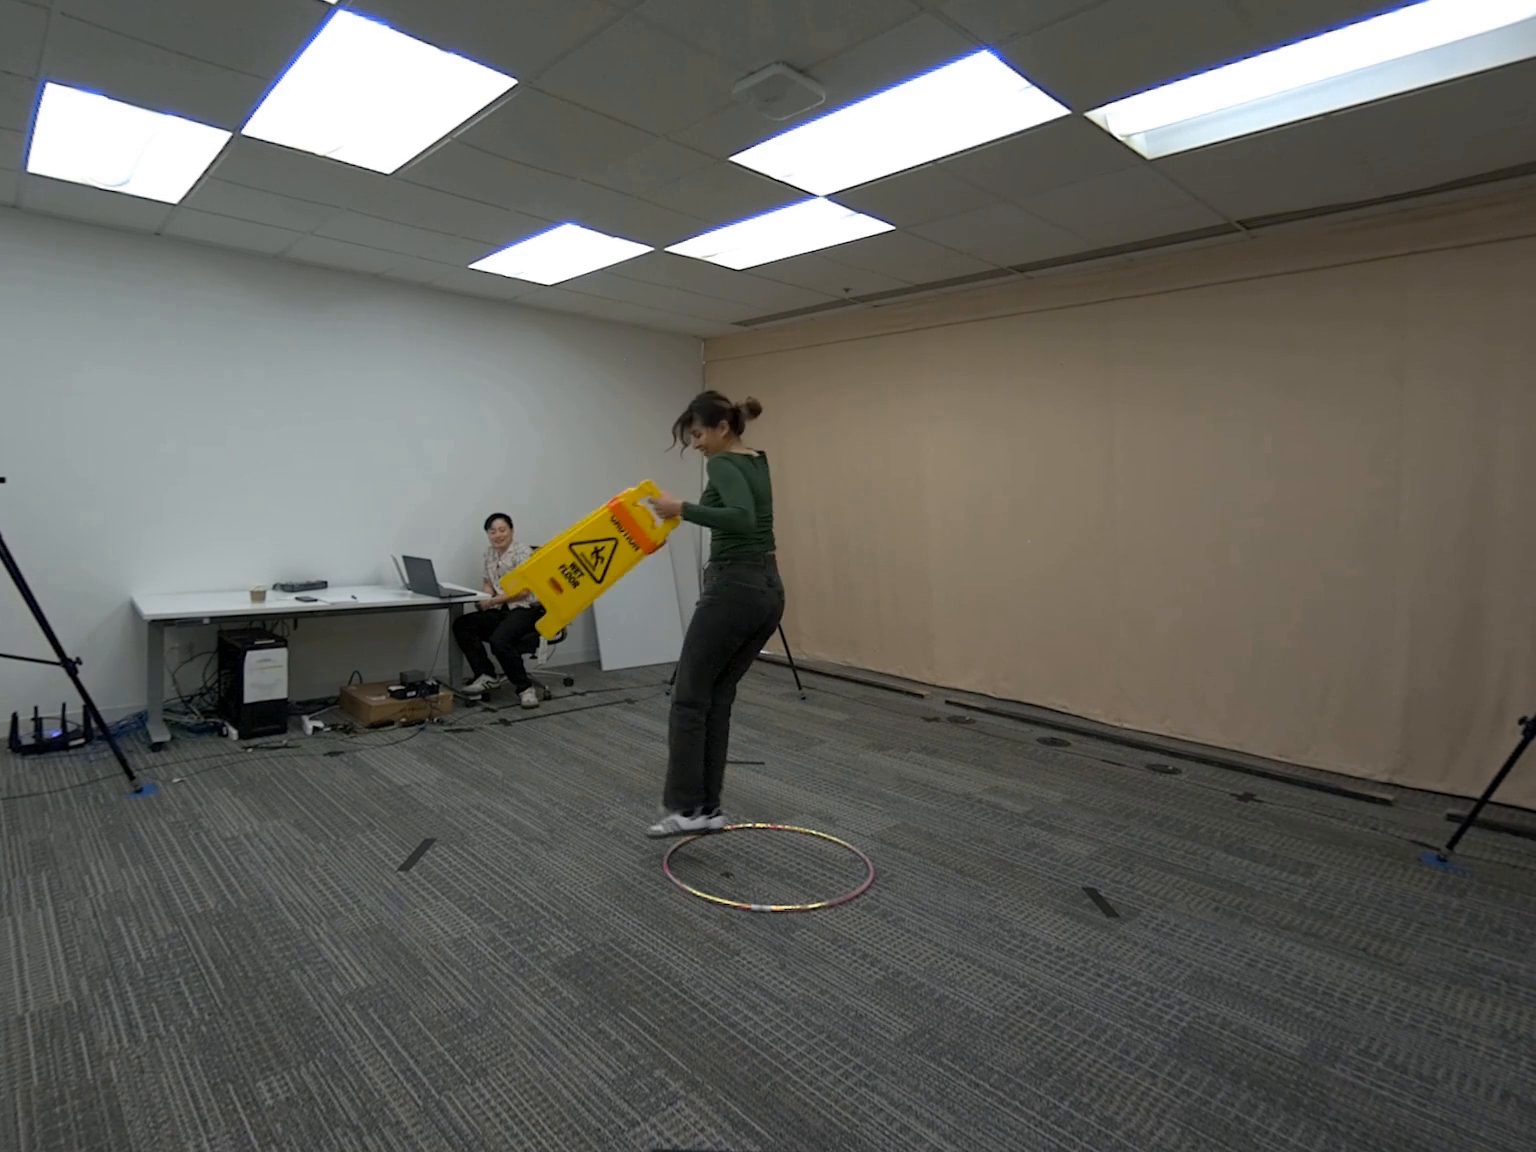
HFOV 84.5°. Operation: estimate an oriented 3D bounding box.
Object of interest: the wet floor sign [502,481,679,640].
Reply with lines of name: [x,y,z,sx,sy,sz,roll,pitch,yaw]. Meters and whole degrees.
wet floor sign: [-0.579,-0.050,3.060,0.648,0.280,0.291,-36,9,19]
